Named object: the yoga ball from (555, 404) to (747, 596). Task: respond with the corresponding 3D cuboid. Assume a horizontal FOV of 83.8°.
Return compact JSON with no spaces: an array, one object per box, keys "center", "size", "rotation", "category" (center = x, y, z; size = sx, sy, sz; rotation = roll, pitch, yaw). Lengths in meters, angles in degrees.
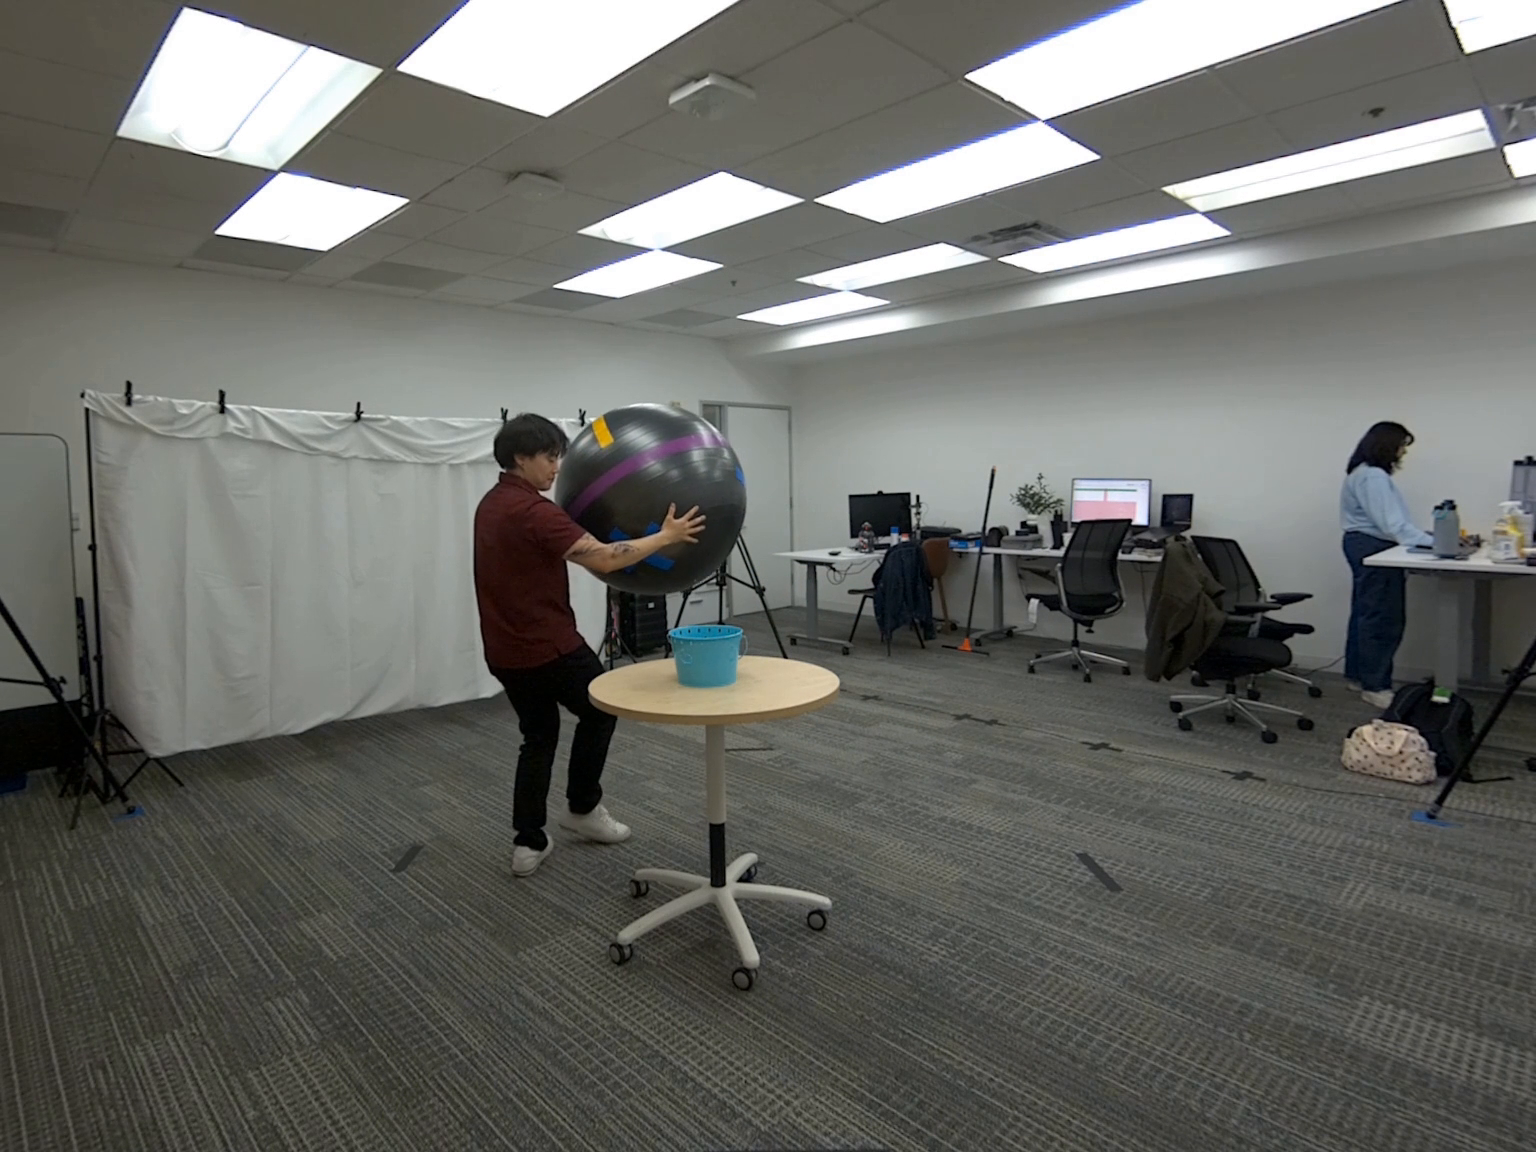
[{"center":[-0.466,-0.310,3.395],"size":[0.757,0.755,0.762],"rotation":[-1,5,-2],"category":"yoga ball"}]
